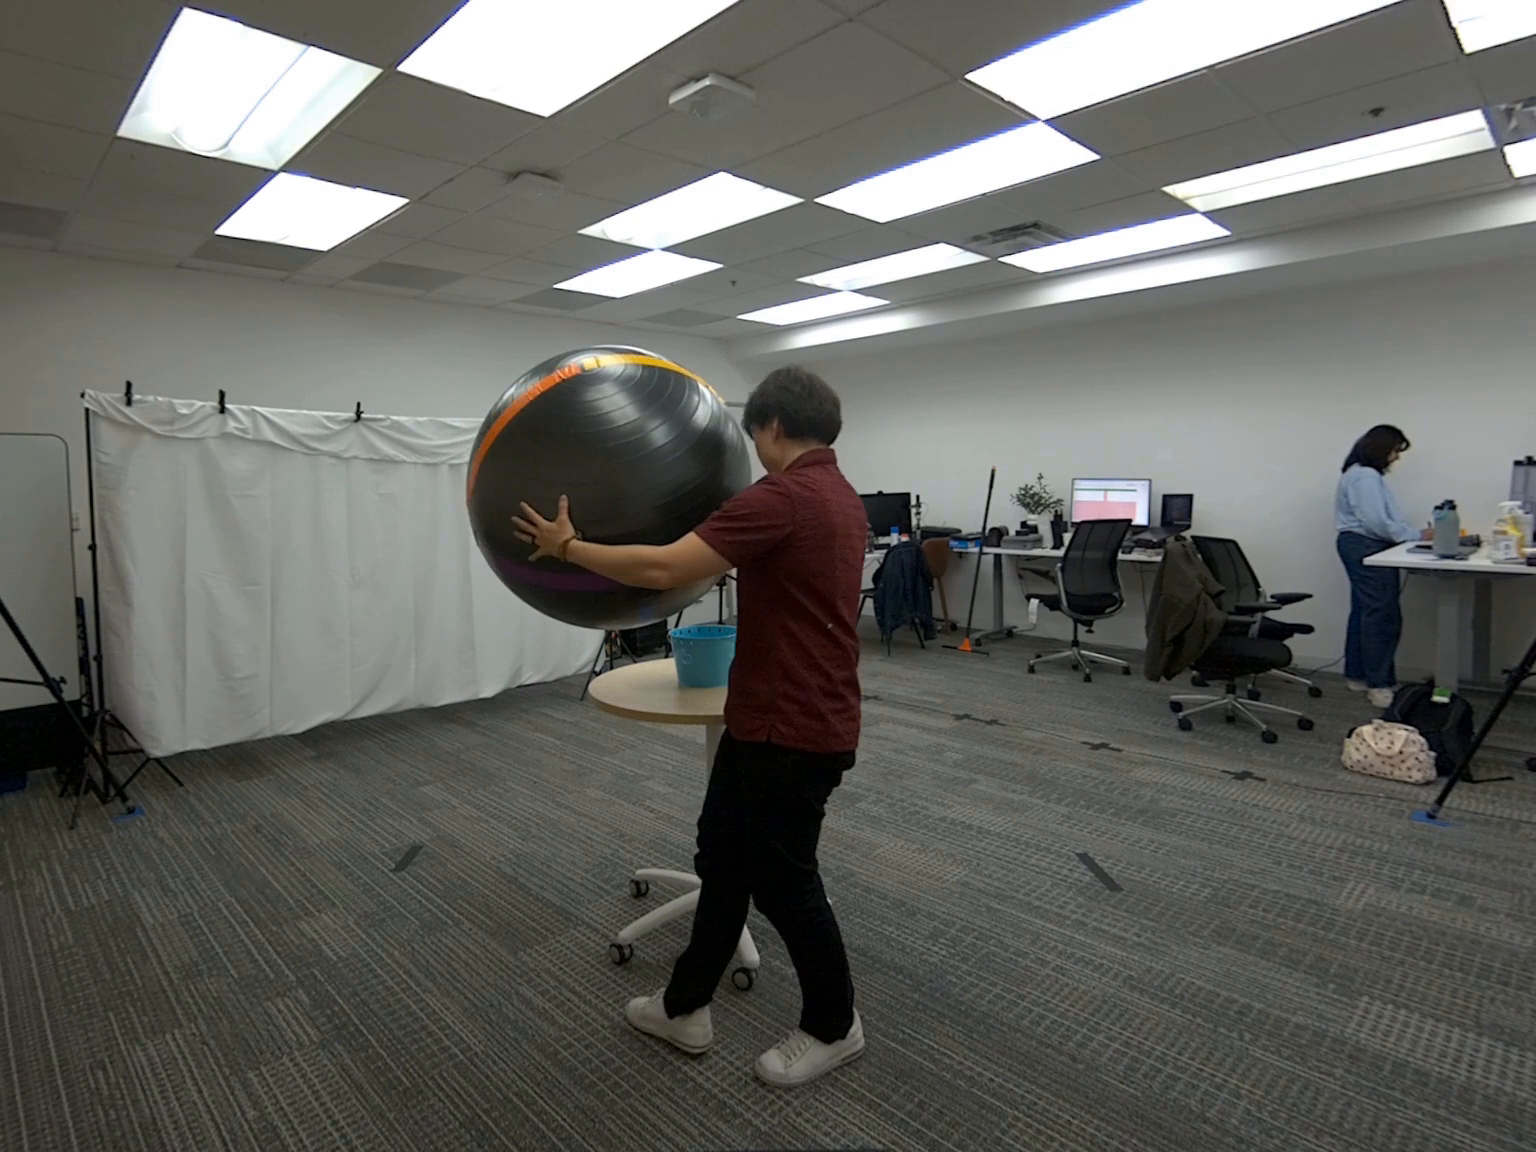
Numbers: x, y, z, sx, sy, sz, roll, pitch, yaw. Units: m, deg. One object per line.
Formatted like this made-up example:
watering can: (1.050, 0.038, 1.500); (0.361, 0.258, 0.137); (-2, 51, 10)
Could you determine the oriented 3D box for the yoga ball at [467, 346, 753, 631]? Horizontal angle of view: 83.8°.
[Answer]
yoga ball: (-0.425, -0.241, 2.301); (0.757, 0.755, 0.762); (-1, 5, -2)
